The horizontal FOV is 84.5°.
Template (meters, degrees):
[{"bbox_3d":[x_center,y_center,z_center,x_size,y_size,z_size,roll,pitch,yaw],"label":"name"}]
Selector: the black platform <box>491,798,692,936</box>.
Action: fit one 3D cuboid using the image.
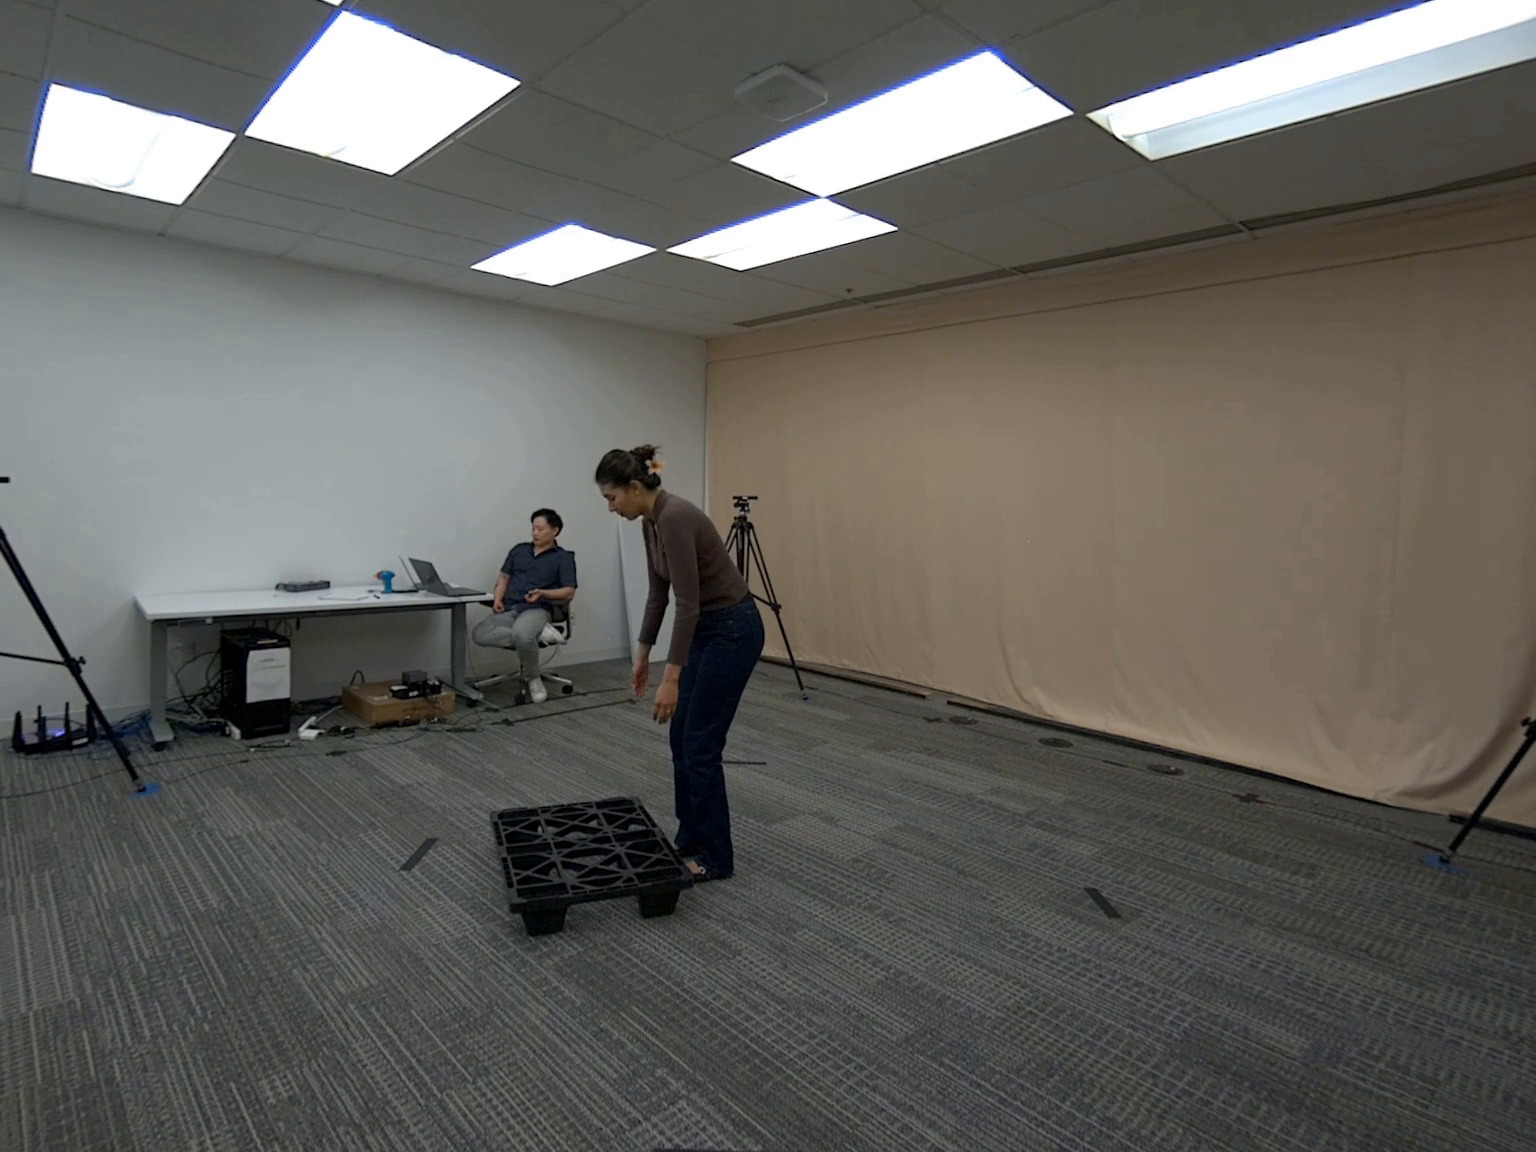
[{"bbox_3d":[-0.676,1.030,3.056,0.595,0.143,0.821,0,6,-22],"label":"black platform"}]
